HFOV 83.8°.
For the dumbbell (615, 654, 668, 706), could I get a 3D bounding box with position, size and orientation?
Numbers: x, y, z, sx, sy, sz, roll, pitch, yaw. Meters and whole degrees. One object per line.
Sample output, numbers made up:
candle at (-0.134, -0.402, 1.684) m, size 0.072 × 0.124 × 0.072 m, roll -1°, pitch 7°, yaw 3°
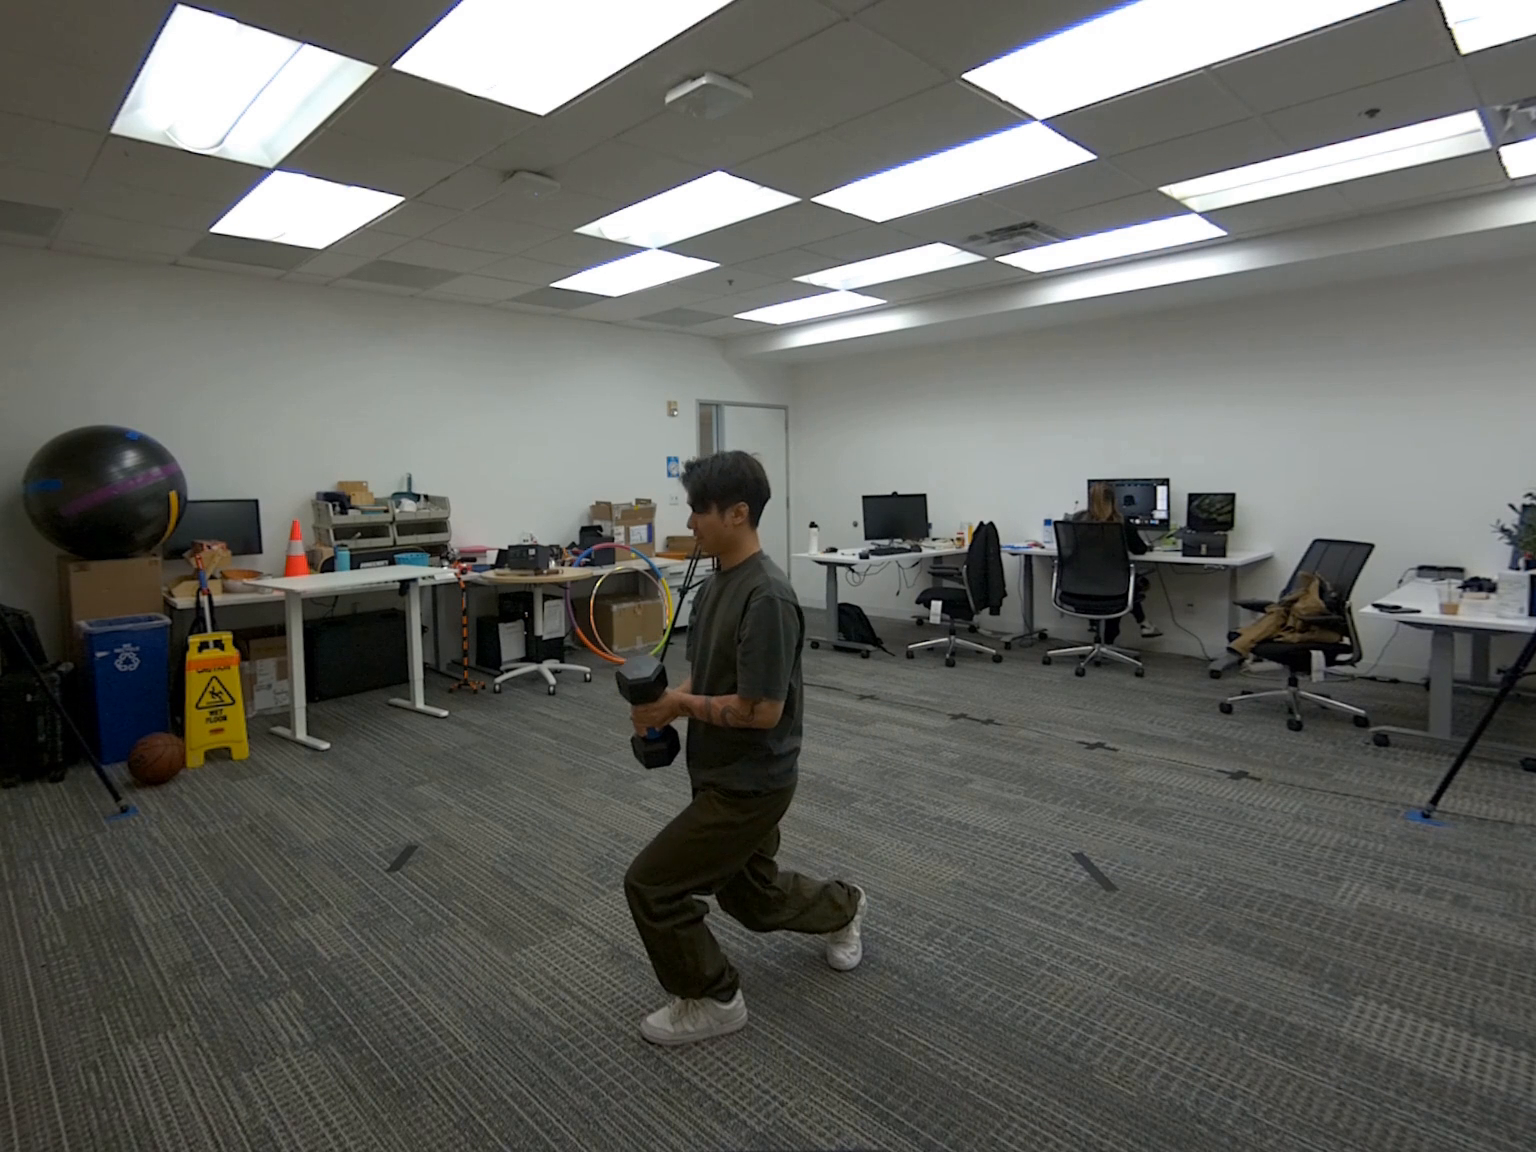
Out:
dumbbell at (-0.280, 0.338, 2.123) m, size 0.111 × 0.286 × 0.123 m, roll 7°, pitch 33°, yaw 22°
